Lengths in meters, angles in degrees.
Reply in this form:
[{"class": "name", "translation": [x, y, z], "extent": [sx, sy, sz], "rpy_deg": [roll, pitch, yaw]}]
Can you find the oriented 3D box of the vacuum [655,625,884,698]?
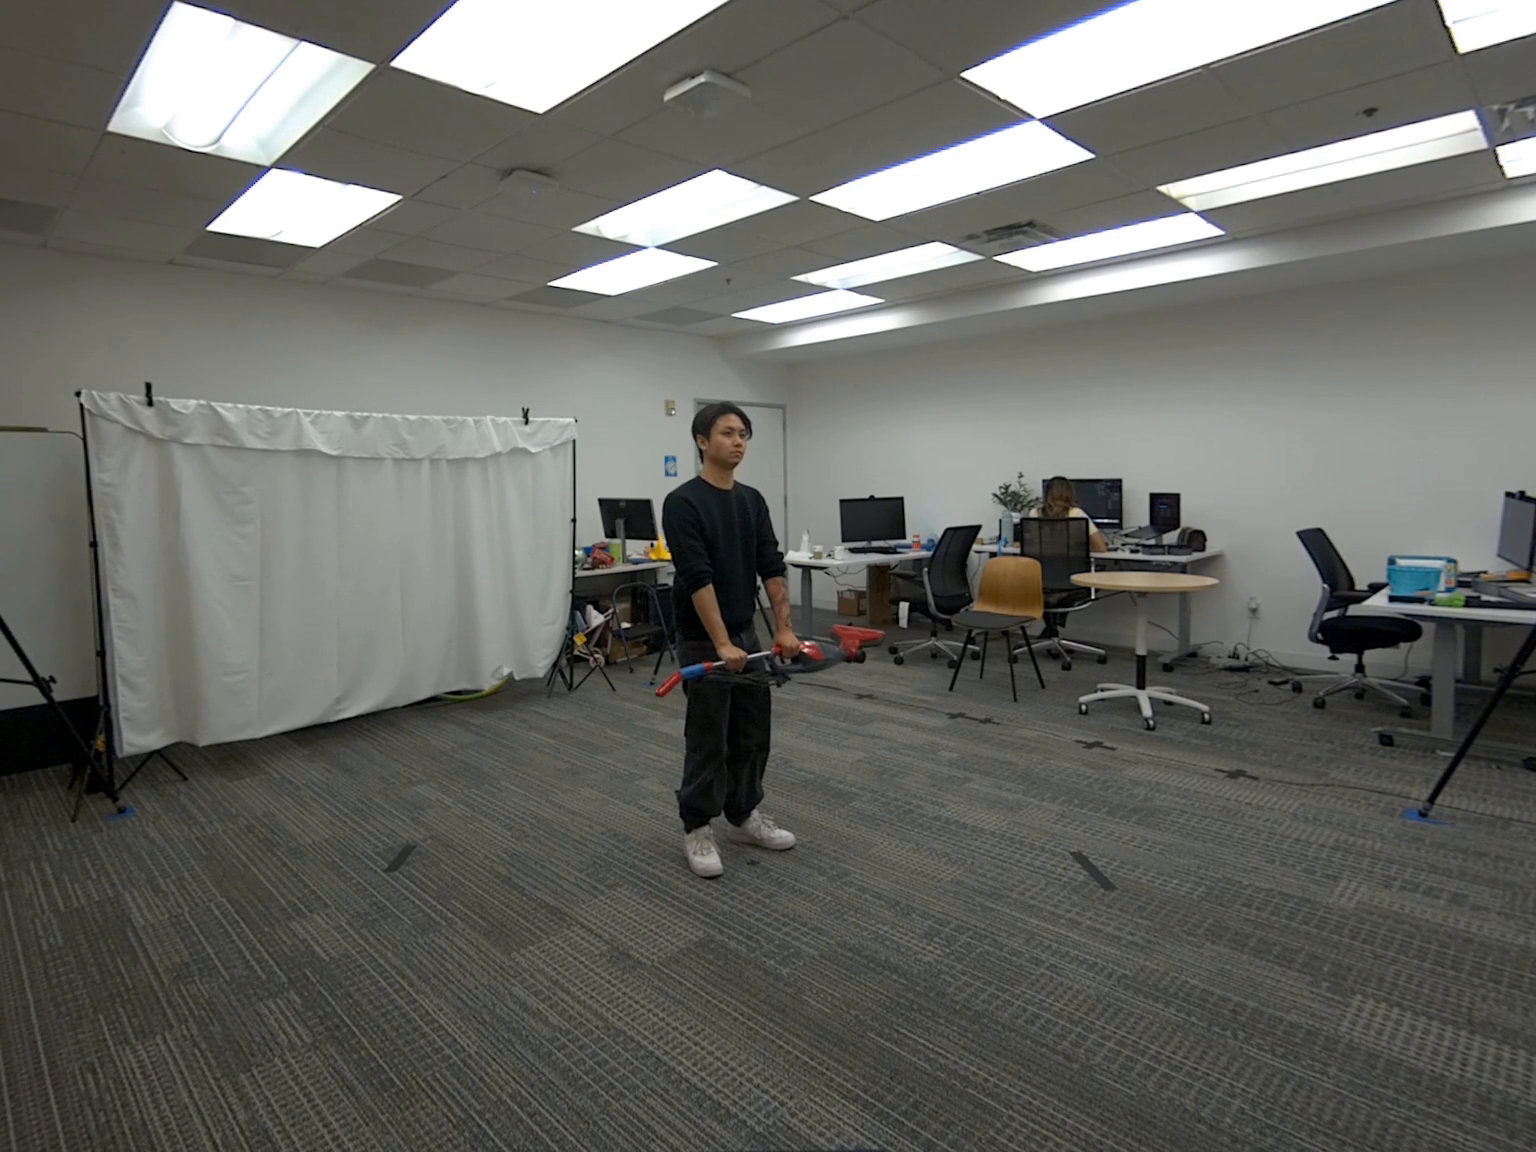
[{"class": "vacuum", "translation": [0.006, 0.320, 3.037], "extent": [0.261, 0.143, 1.022], "rpy_deg": [11, 13, 42]}]
